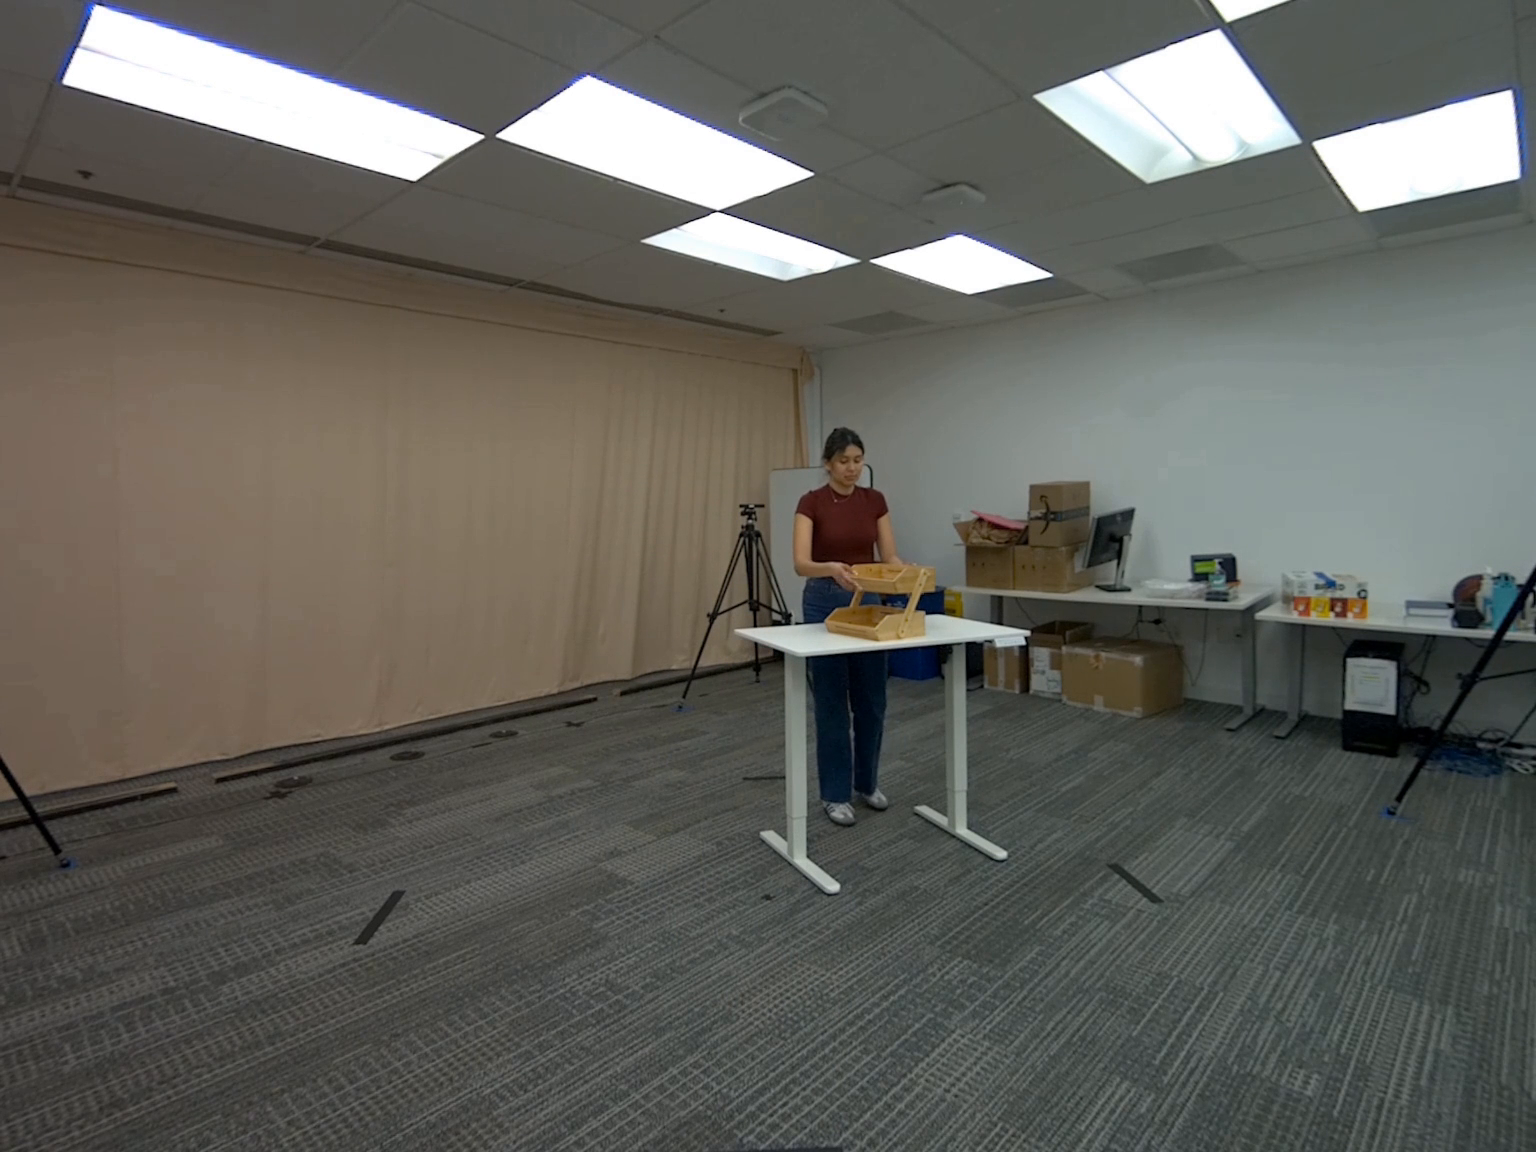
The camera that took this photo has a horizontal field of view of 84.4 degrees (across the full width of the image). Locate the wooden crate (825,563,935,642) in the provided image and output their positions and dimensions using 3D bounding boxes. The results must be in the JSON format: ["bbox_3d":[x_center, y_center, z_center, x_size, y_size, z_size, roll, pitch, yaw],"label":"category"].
[{"bbox_3d":[0.438,0.092,3.278,0.293,0.273,0.334,-2,4,-33],"label":"wooden crate"}]
